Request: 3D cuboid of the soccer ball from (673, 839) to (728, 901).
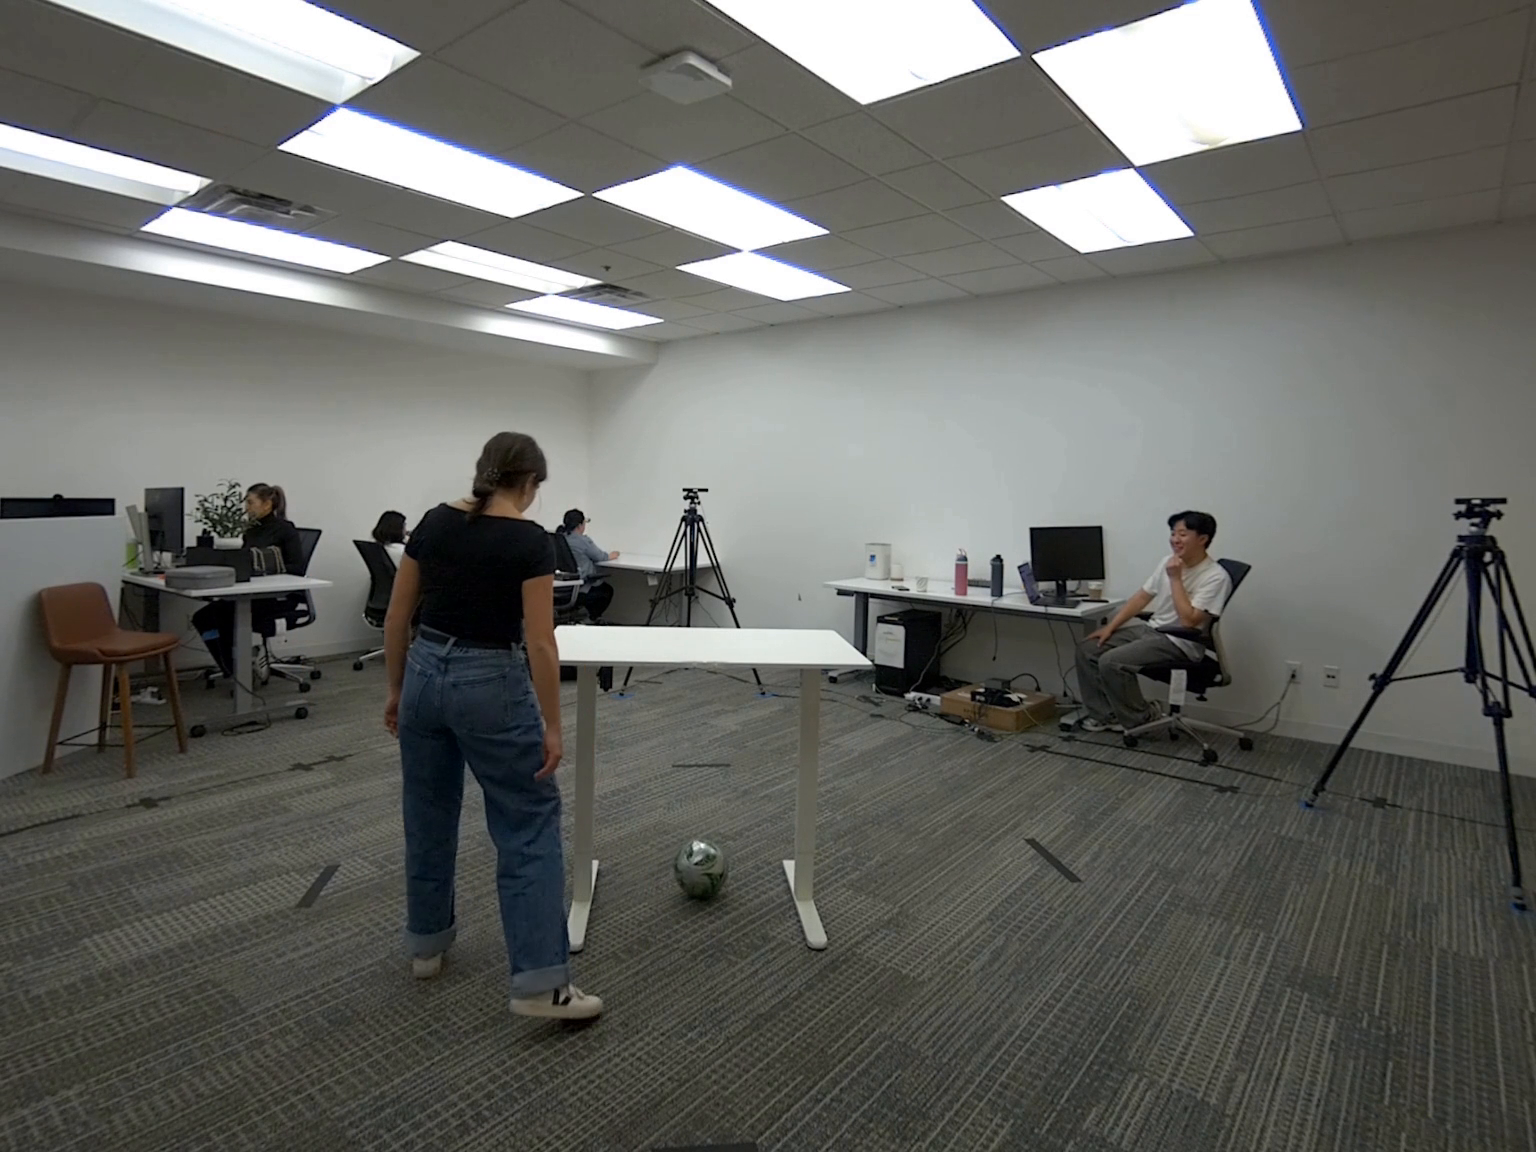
[{"bbox_3d":[-0.227,0.994,2.914,0.187,0.187,0.188,1,4,-2],"label":"soccer ball"}]
